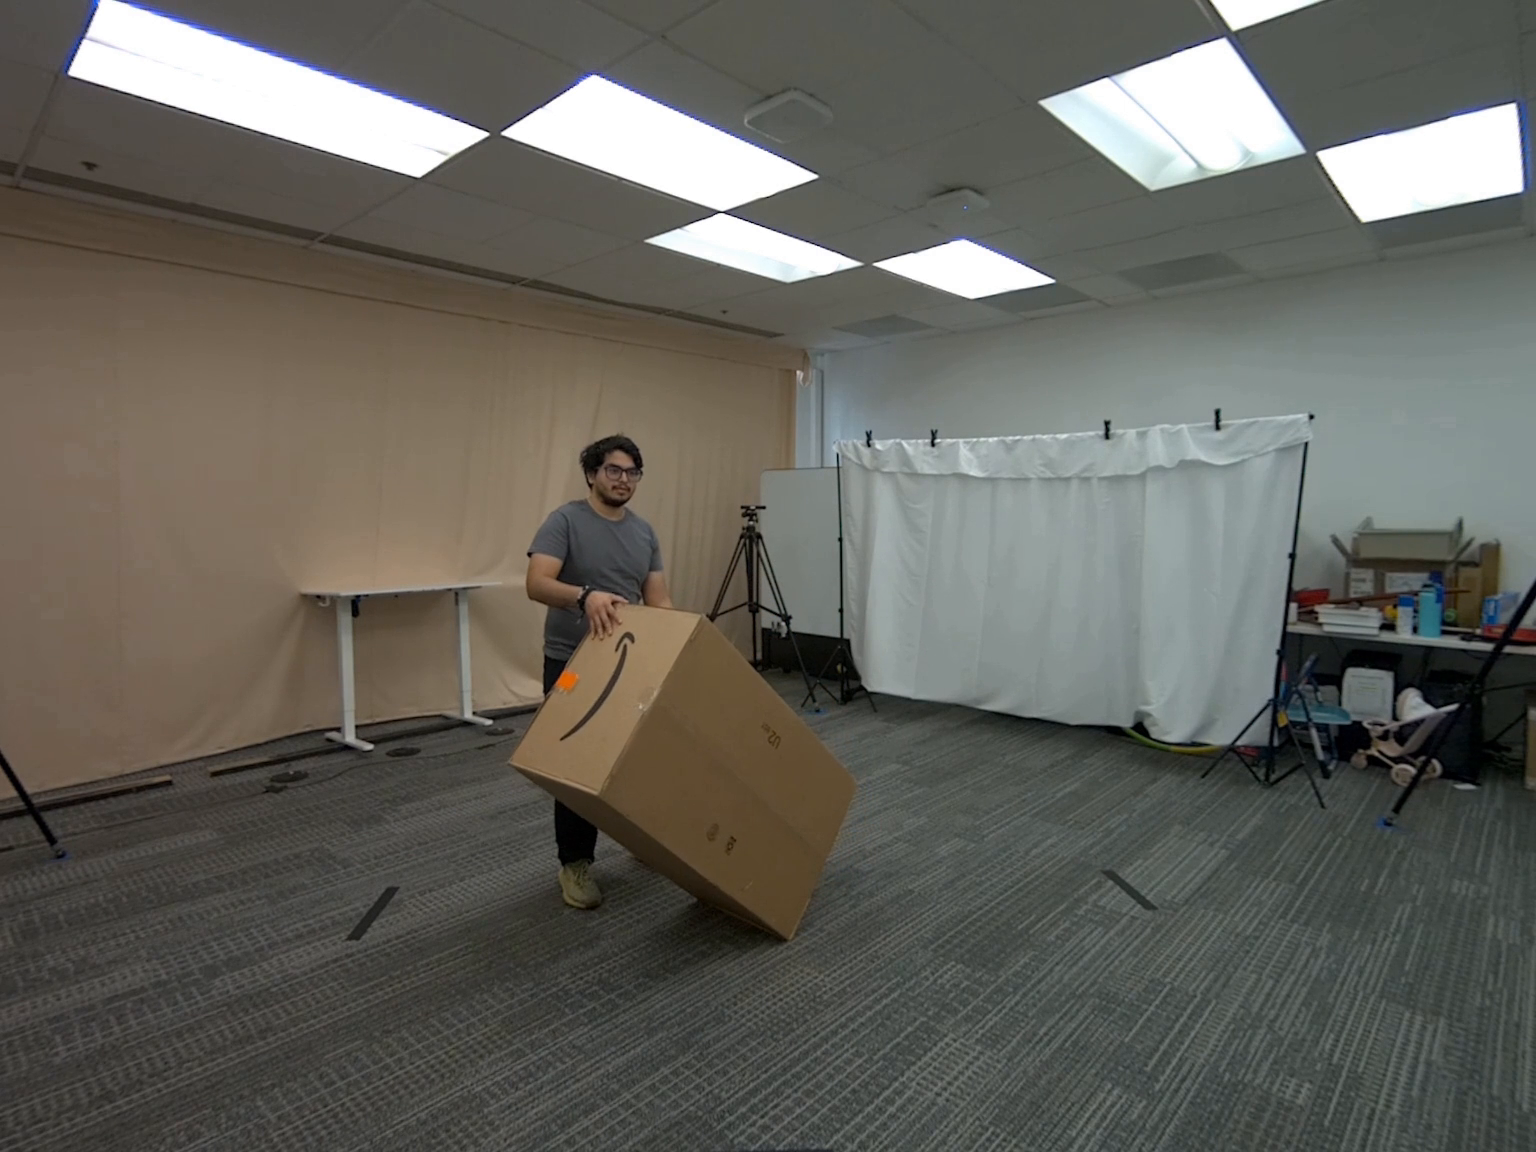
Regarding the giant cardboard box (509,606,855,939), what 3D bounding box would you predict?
[{"bbox_3d":[-0.213,0.629,2.669,0.440,0.578,0.992,2,-37,42],"label":"giant cardboard box"}]
